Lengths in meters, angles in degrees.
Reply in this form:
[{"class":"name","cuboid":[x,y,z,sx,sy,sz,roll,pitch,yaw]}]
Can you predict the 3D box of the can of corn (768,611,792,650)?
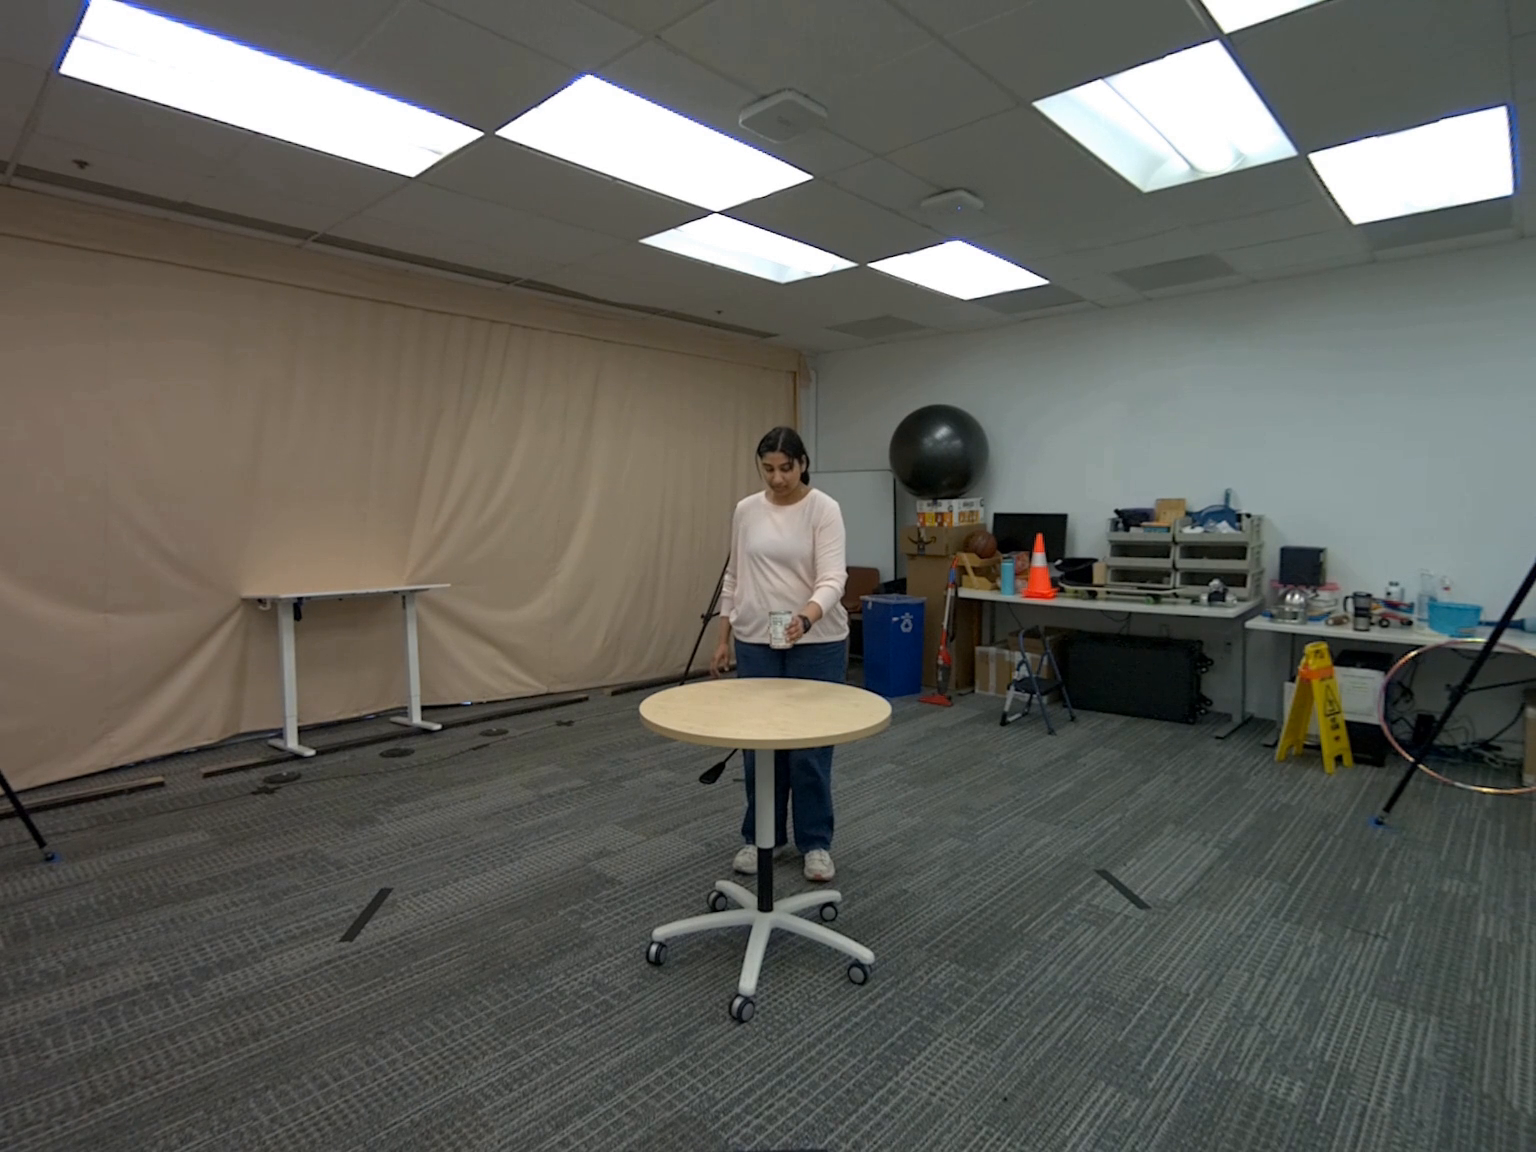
[{"class":"can of corn","cuboid":[0.045,0.173,2.725,0.074,0.111,0.074,-2,1,-2]}]
